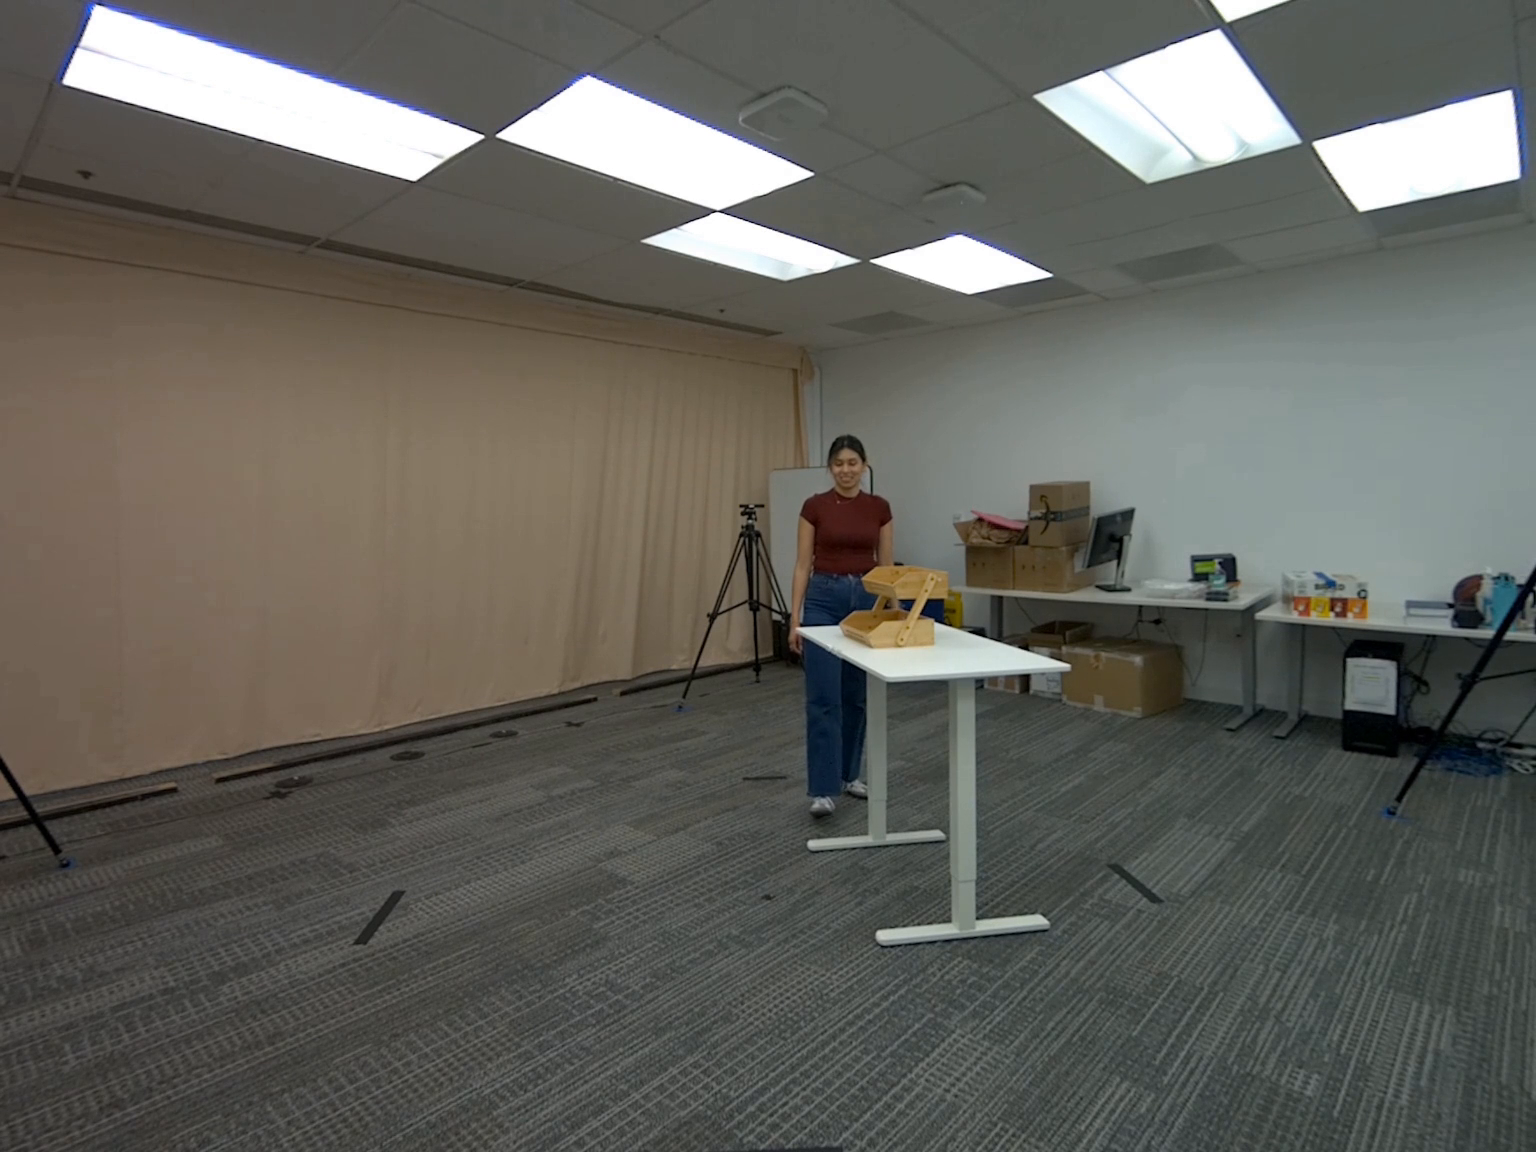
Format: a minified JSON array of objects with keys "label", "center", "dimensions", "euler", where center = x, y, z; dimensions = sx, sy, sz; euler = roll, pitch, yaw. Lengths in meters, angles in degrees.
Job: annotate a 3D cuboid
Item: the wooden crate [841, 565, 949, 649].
[{"label":"wooden crate","center":[0.453,0.105,3.117],"dimensions":[0.298,0.272,0.330],"euler":[-1,4,-14]}]
